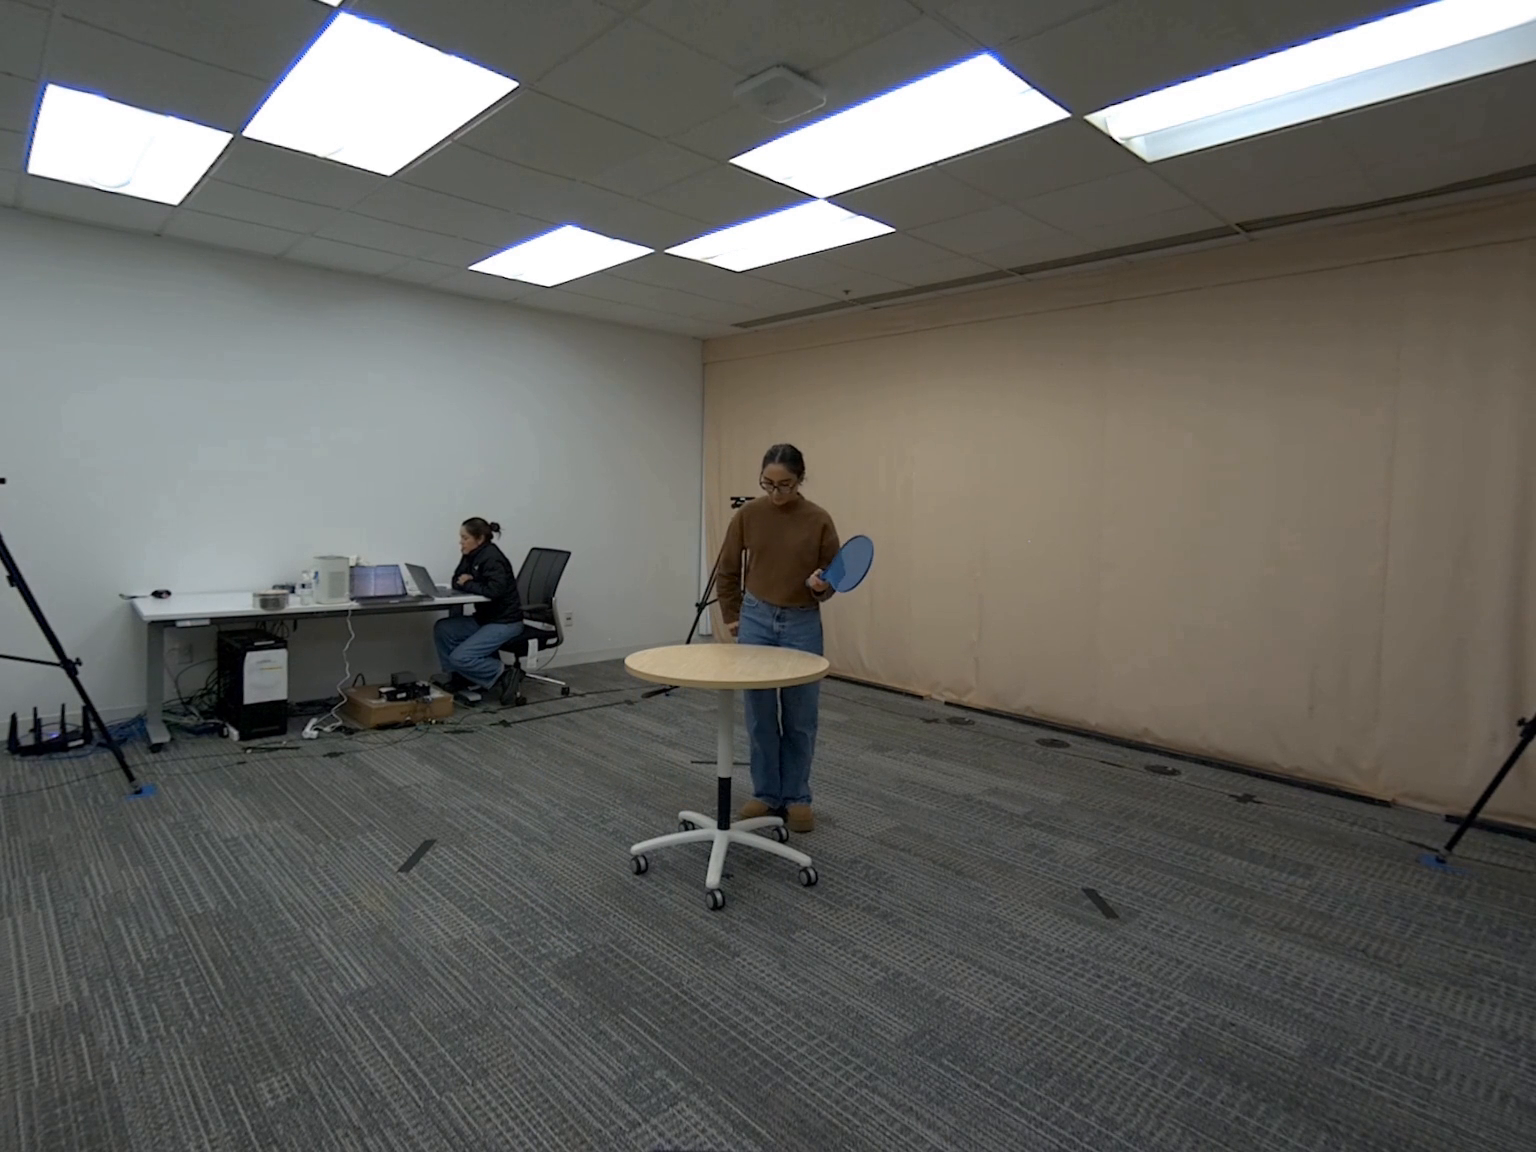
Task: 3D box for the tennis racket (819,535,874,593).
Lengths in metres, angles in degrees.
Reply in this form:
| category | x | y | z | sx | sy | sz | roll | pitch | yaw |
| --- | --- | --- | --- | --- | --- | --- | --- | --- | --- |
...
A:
| category | x | y | z | sx | sy | sz | roll | pitch | yaw |
| --- | --- | --- | --- | --- | --- | --- | --- | --- | --- |
| tennis racket | 0.257 | -0.028 | 3.142 | 0.031 | 0.216 | 0.435 | 20 | -24 | -20 |
